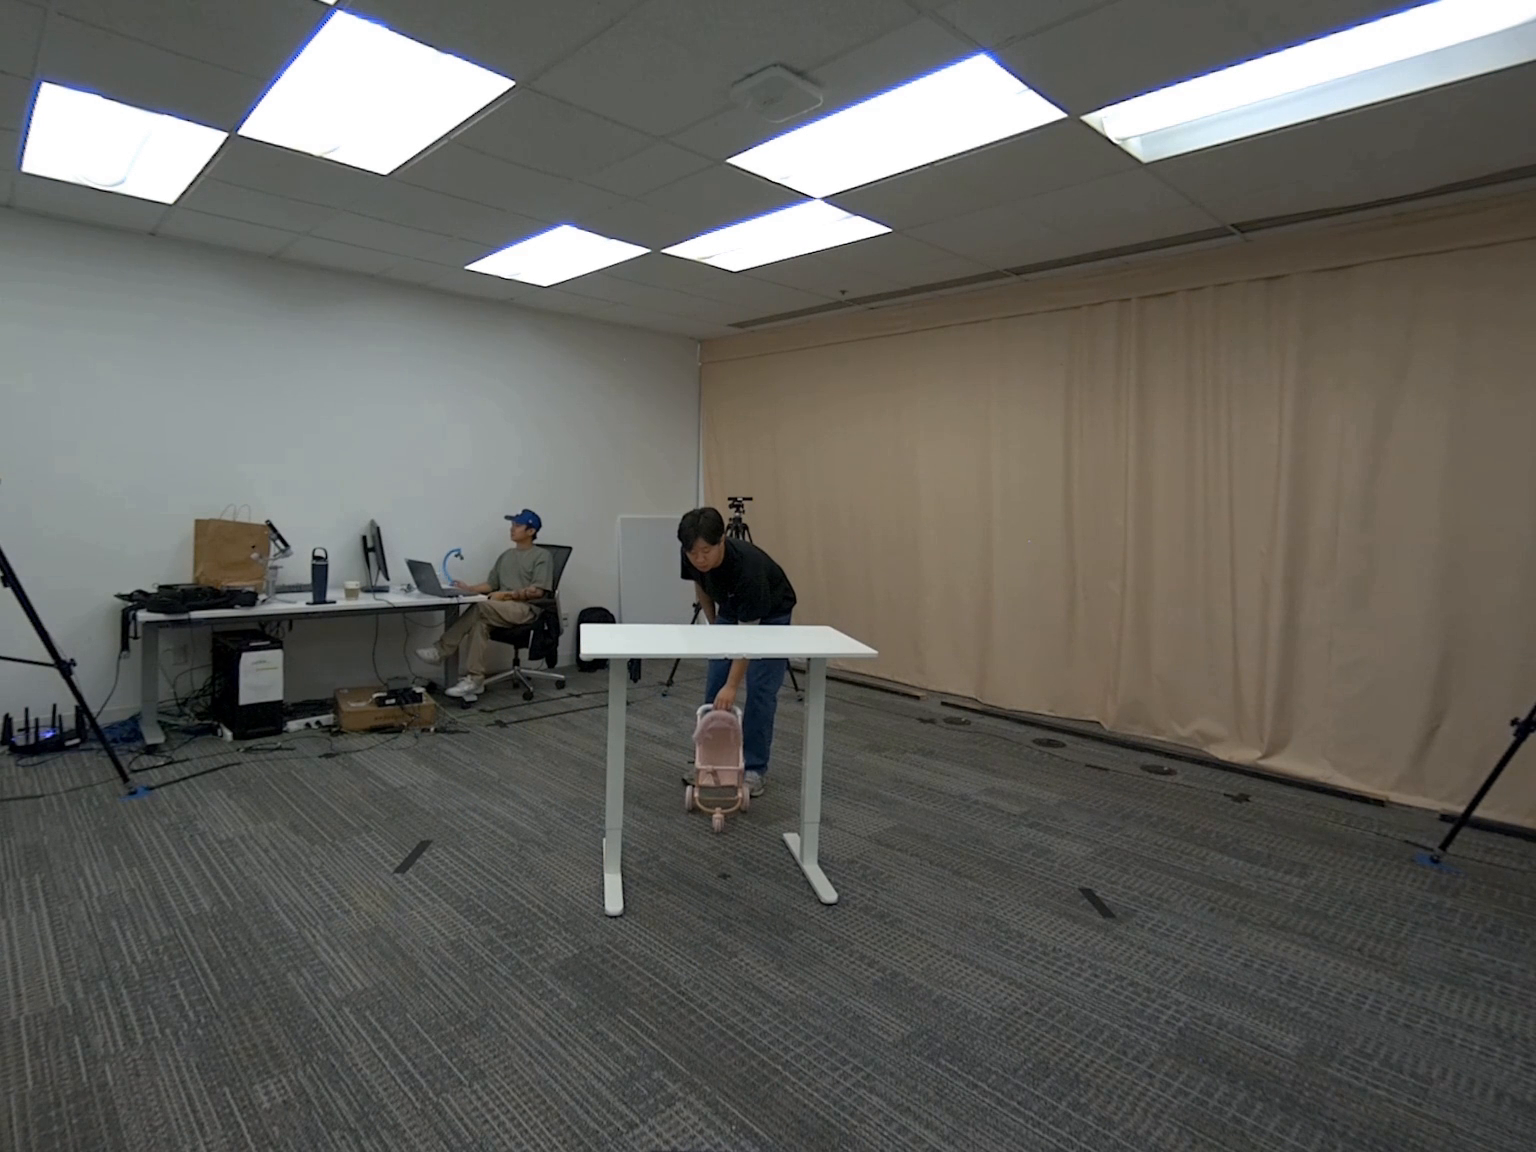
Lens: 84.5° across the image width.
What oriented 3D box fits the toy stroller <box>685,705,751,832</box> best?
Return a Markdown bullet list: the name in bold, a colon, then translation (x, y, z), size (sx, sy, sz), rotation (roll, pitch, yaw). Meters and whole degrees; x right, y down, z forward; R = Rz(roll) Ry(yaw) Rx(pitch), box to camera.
- **toy stroller**: translation (-0.229, 0.830, 3.681), size (0.282, 0.539, 0.338), rotation (1, -11, 0)
